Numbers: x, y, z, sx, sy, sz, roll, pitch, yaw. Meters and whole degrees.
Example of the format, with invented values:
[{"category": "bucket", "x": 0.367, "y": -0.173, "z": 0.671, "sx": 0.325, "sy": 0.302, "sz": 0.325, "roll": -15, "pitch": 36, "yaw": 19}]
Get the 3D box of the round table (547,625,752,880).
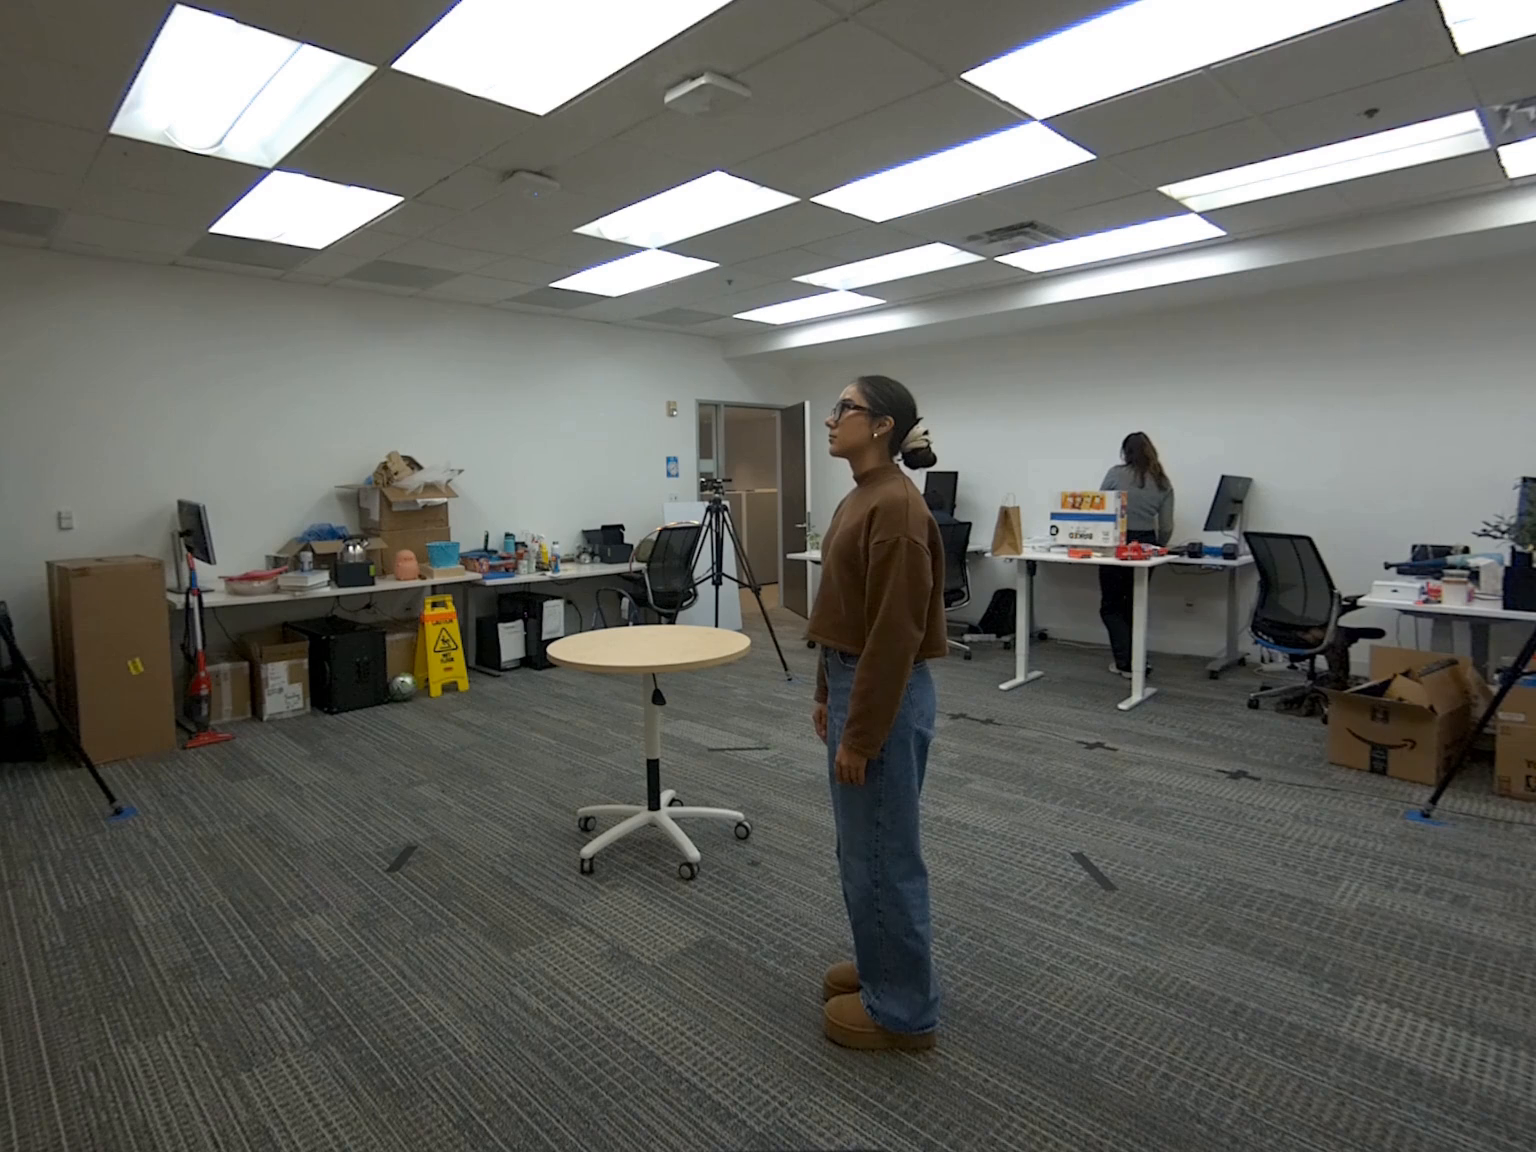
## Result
[{"category": "round table", "x": -0.444, "y": 0.641, "z": 3.268, "sx": 0.784, "sy": 0.784, "sz": 0.789, "roll": -1, "pitch": 5, "yaw": -2}]
